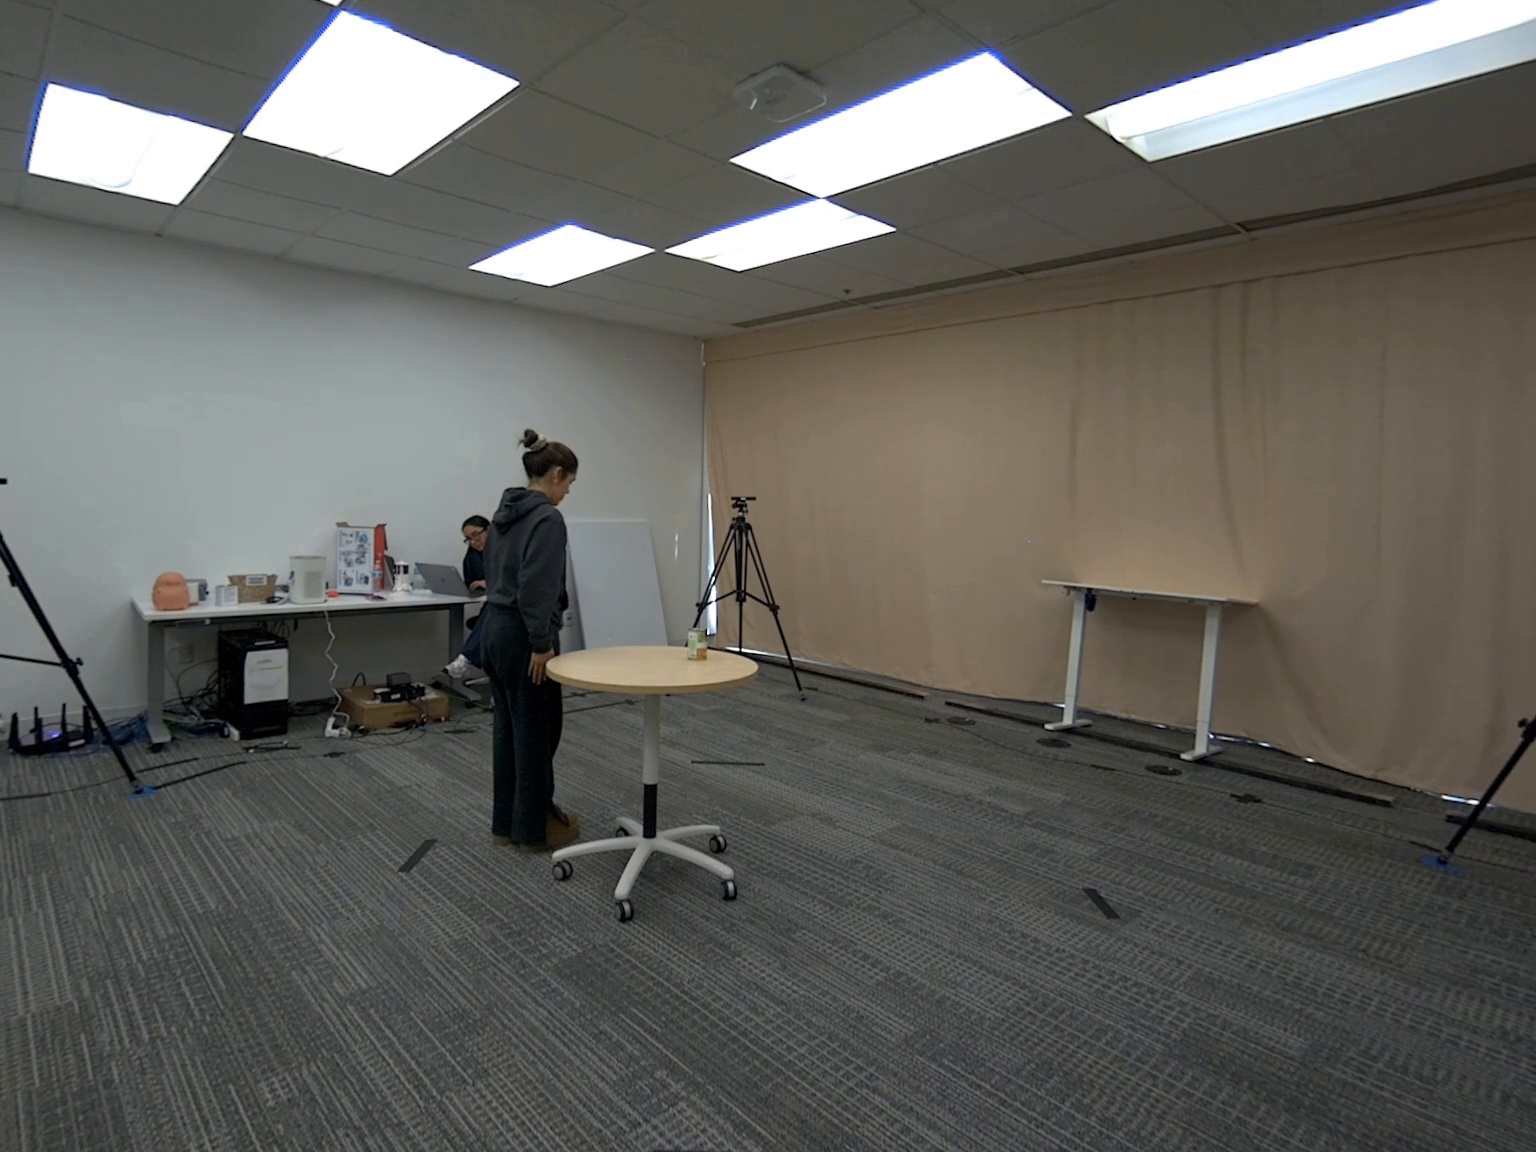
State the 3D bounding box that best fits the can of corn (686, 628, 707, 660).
[{"bbox_3d":[-0.275,0.255,3.180,0.074,0.111,0.074,3,3,-2],"label":"can of corn"}]
